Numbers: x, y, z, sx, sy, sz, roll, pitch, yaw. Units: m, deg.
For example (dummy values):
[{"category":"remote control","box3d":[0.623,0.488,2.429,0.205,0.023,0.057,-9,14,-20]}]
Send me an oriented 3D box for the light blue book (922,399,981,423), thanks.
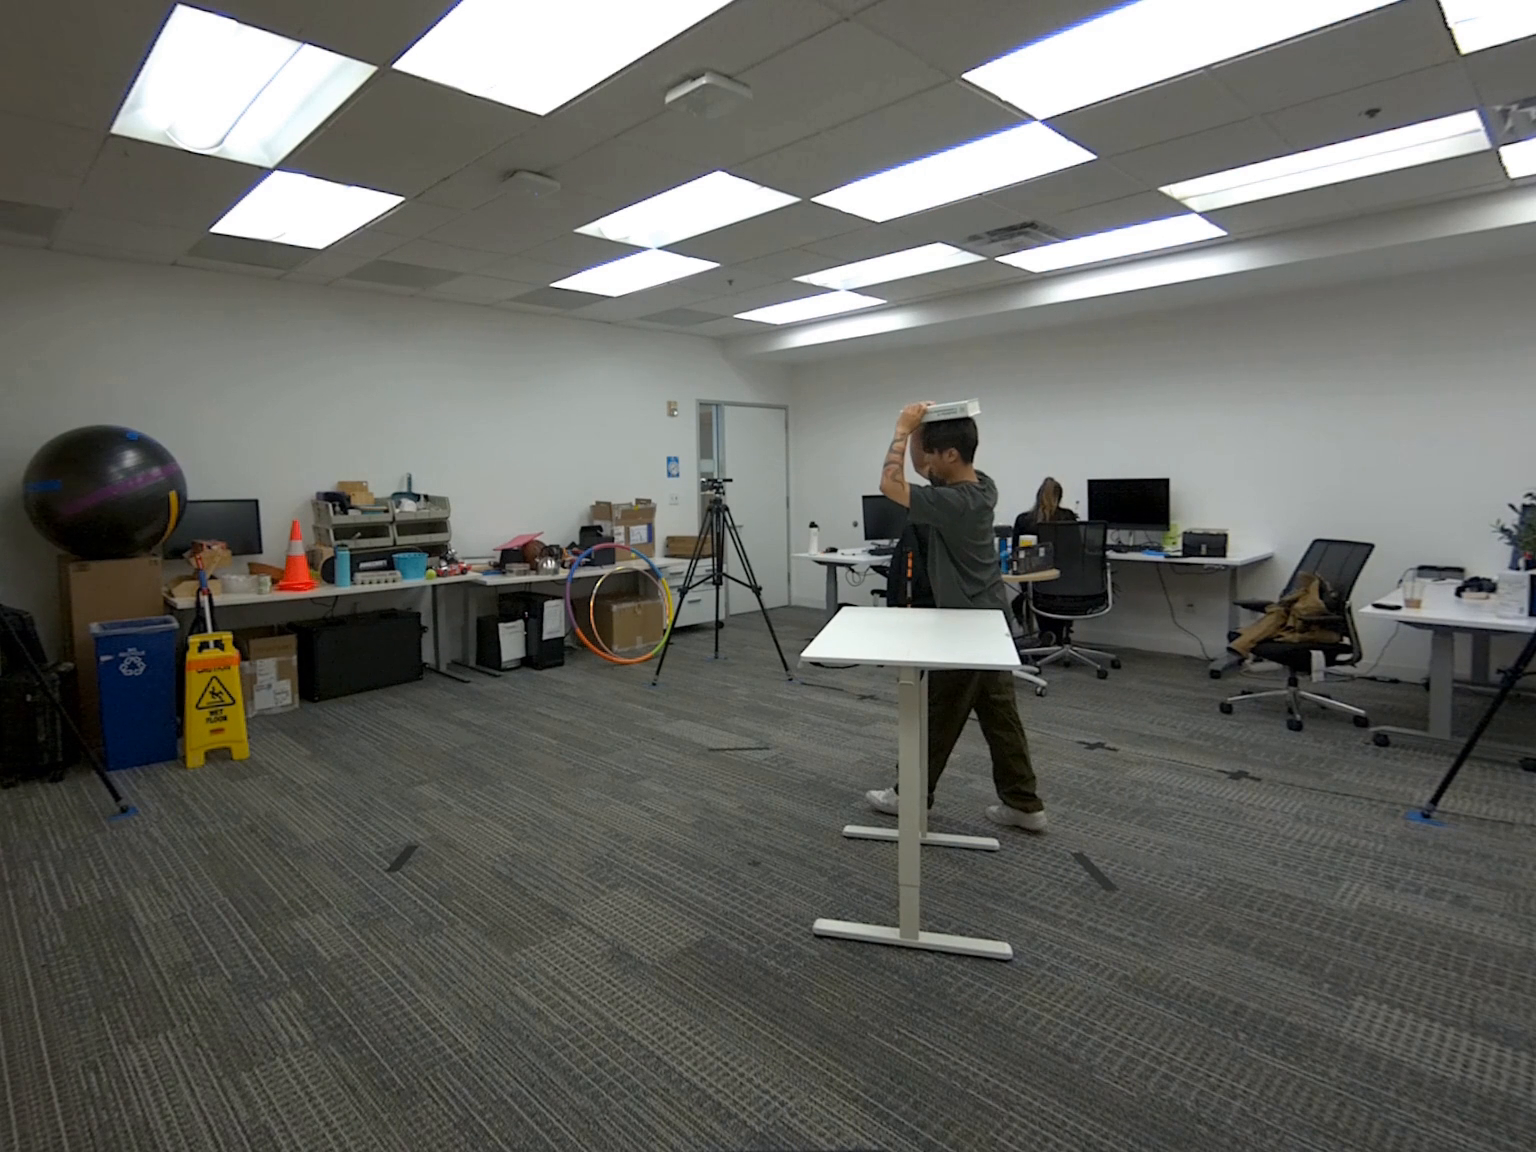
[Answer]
[{"category":"light blue book","box3d":[0.684,-0.642,3.330,0.267,0.058,0.189,-3,12,29]}]
